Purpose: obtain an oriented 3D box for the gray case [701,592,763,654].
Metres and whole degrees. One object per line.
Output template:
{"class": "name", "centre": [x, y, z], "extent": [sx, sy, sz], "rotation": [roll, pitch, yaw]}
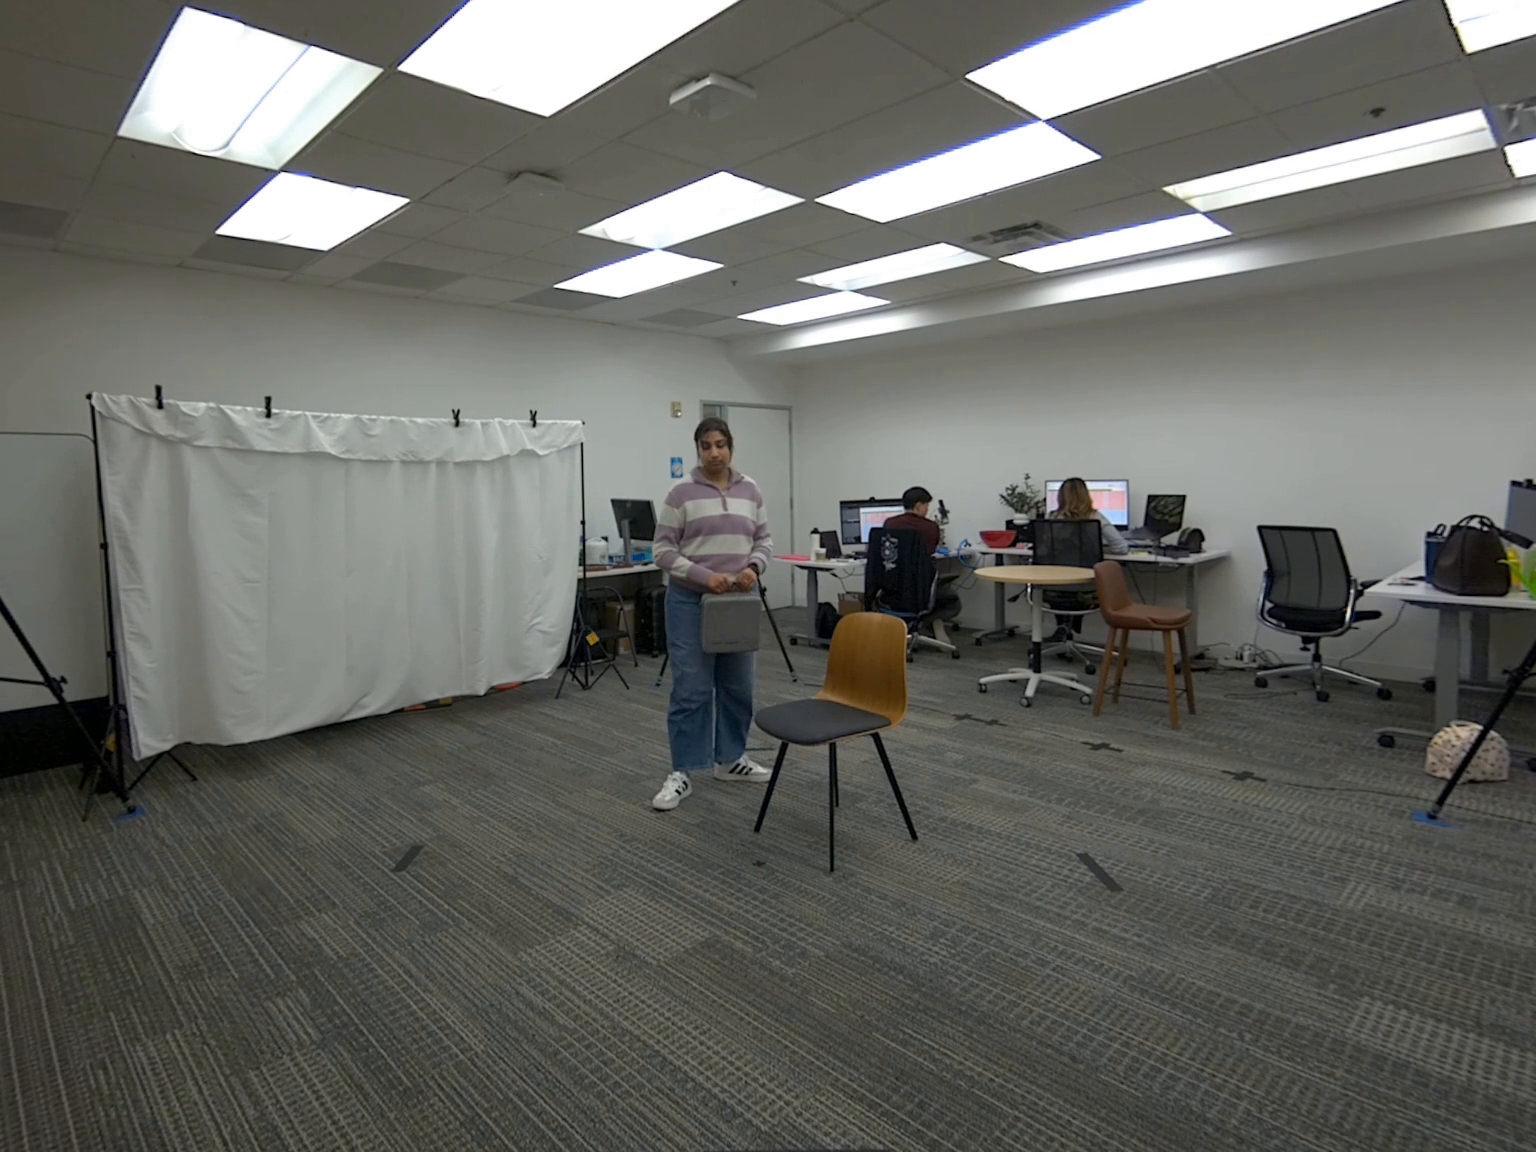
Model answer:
{"class": "gray case", "centre": [-0.164, 0.199, 3.646], "extent": [0.255, 0.258, 0.106], "rotation": [-1, 13, -8]}
